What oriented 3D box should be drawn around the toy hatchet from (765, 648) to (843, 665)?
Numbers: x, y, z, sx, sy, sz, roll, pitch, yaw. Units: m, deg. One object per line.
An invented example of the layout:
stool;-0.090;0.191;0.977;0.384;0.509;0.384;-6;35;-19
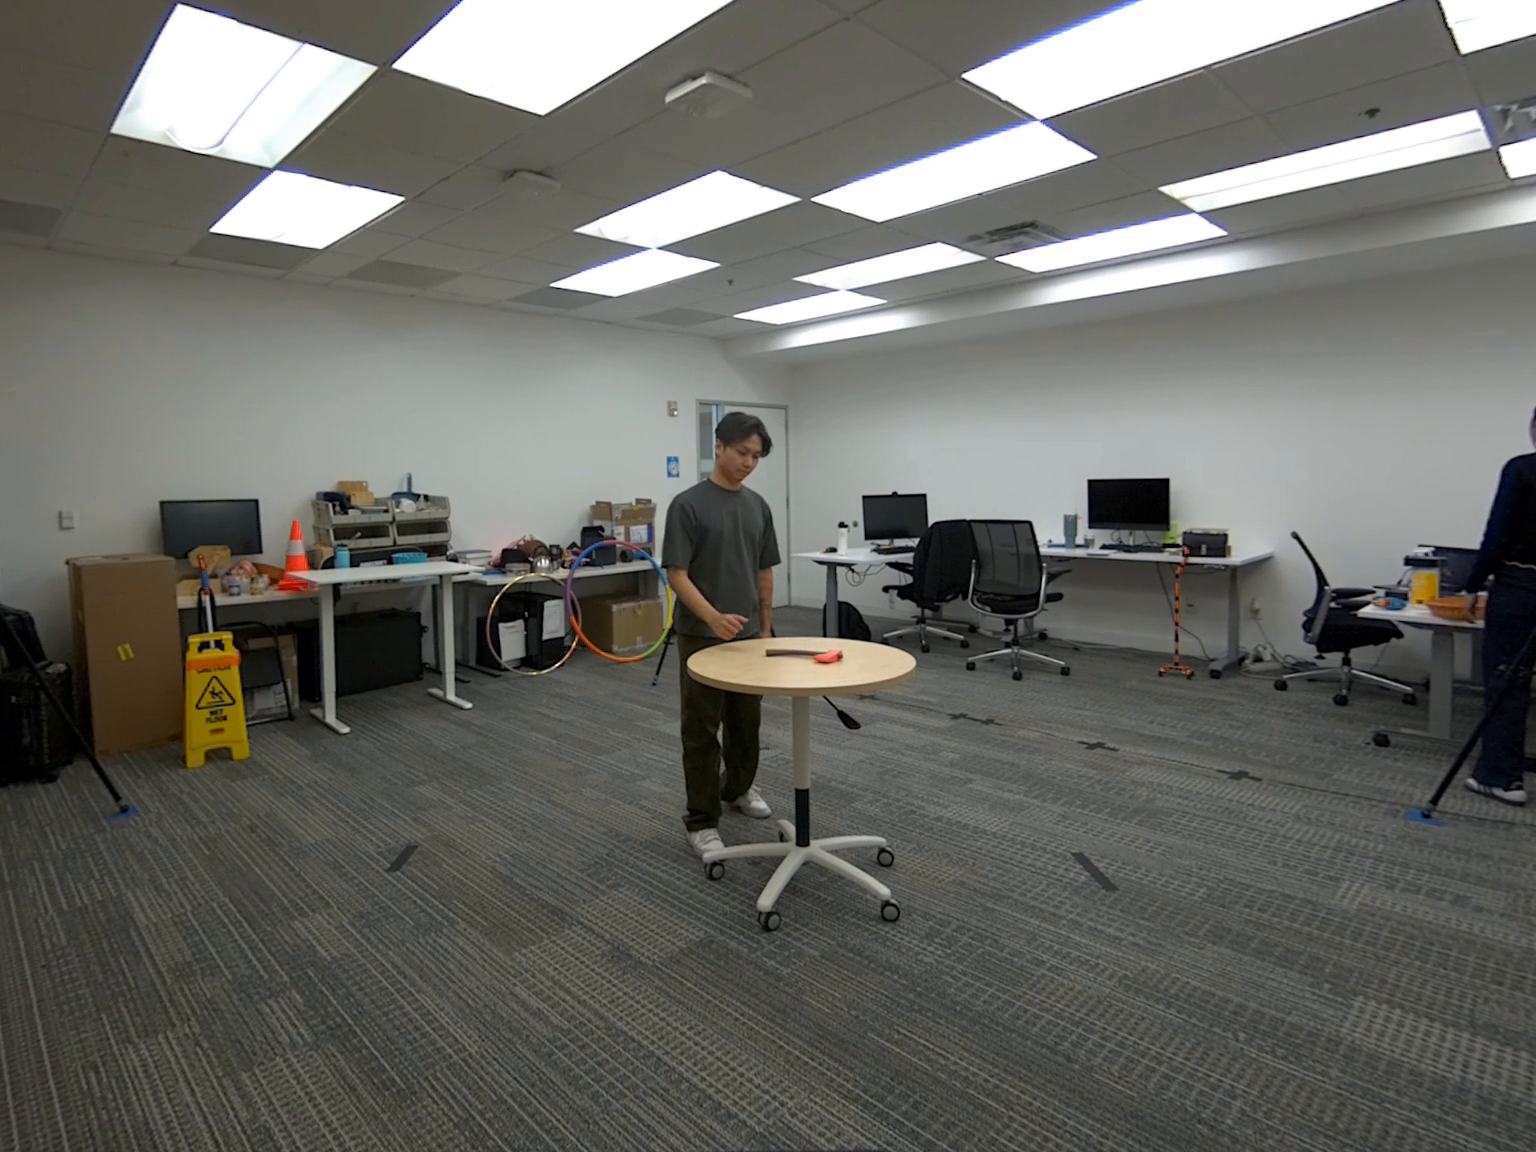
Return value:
toy hatchet;0.123;0.271;2.886;0.273;0.029;0.131;-2;11;12
